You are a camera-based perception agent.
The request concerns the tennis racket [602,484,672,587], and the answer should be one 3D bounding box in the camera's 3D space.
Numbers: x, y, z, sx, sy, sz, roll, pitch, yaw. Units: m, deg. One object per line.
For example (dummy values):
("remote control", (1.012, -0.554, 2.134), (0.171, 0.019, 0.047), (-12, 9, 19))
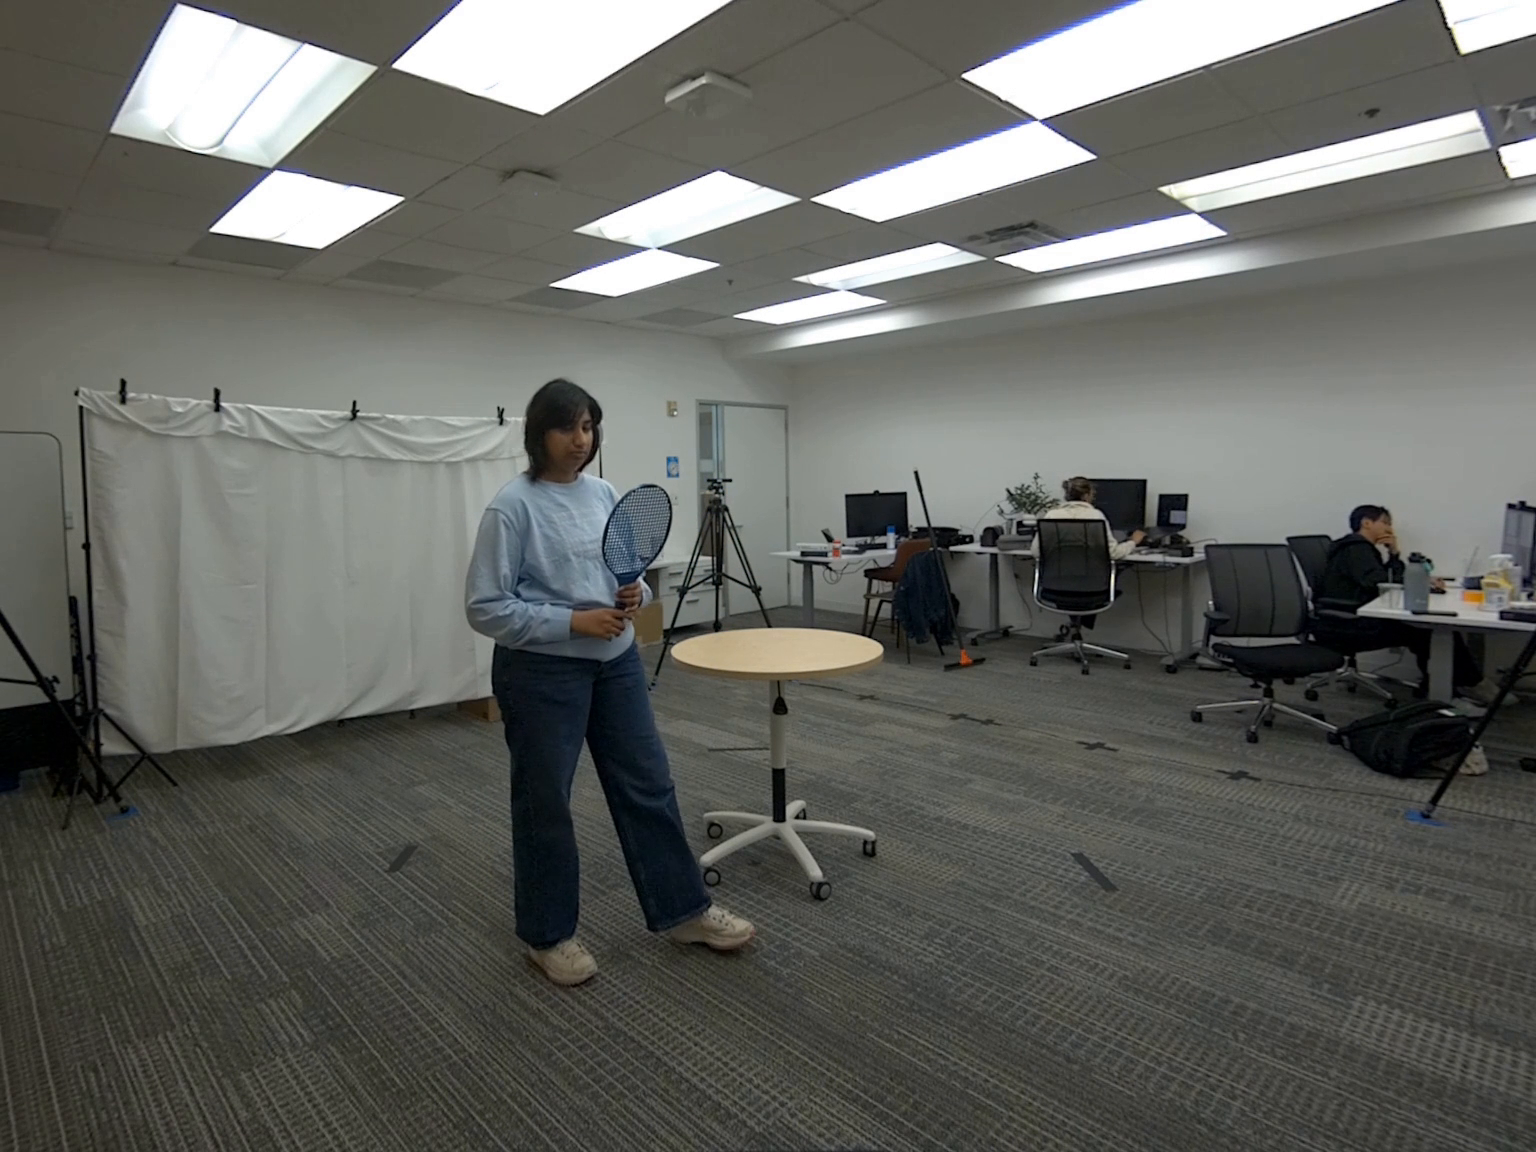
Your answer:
("tennis racket", (-0.352, -0.040, 2.235), (0.208, 0.427, 0.033), (-8, 32, -44))
